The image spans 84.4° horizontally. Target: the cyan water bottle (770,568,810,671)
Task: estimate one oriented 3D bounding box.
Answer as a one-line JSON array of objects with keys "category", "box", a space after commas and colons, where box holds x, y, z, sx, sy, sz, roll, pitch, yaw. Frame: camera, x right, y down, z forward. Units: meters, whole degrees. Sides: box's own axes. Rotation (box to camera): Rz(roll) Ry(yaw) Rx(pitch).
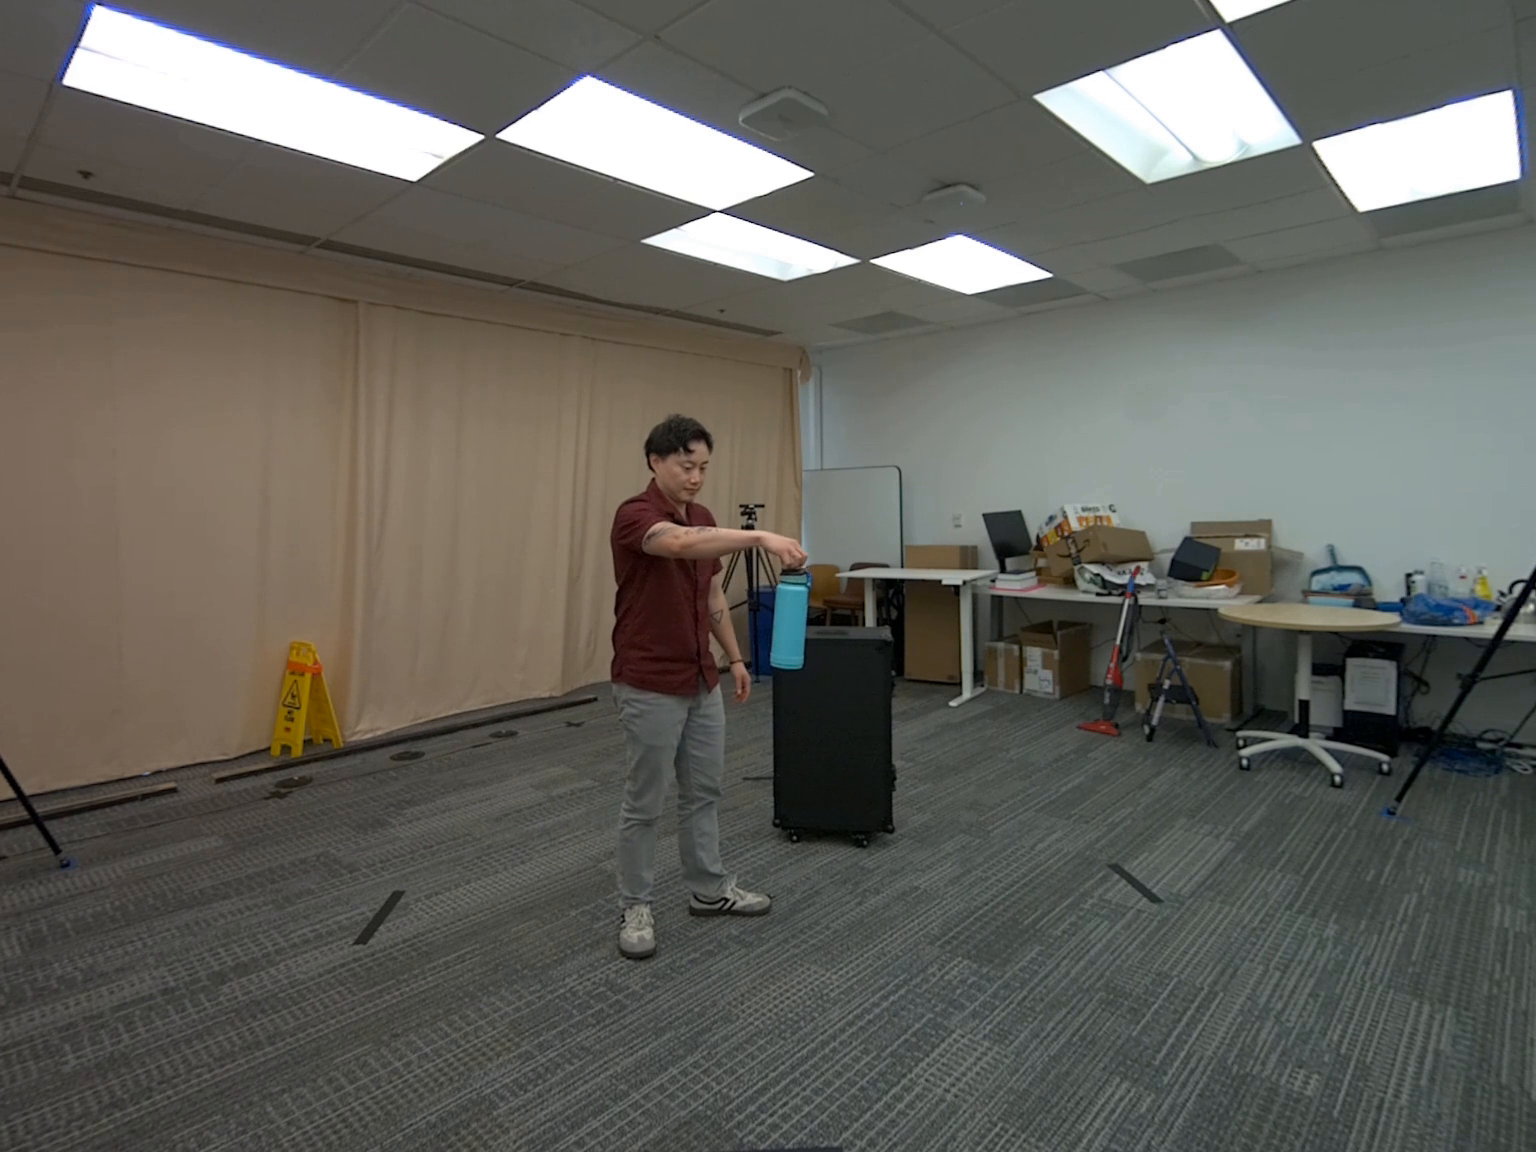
[{"category": "cyan water bottle", "box": [0.072, 0.107, 2.303, 0.092, 0.283, 0.092, 3, 4, -2]}]
